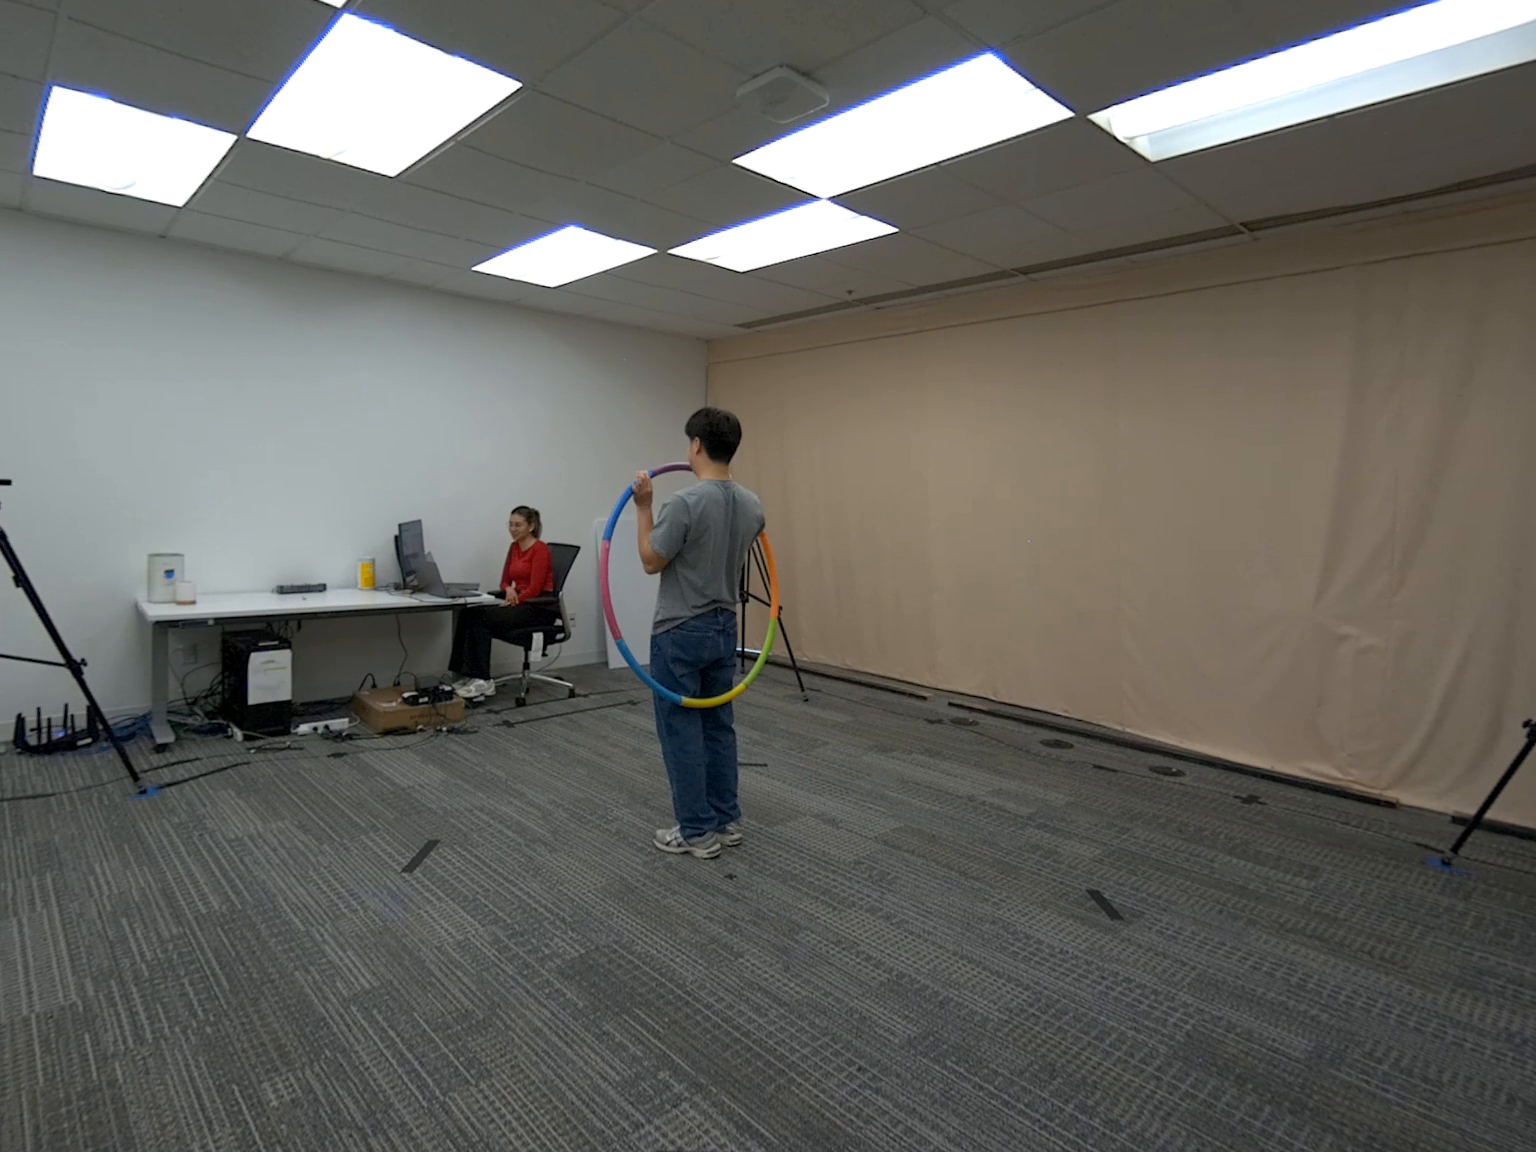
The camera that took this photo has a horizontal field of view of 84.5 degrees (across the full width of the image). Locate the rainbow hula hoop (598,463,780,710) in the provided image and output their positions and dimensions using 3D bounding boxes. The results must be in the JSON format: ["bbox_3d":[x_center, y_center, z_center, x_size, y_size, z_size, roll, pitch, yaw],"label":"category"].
[{"bbox_3d":[-0.296,0.022,3.396,0.036,0.982,0.957,-12,-5,41],"label":"rainbow hula hoop"}]
